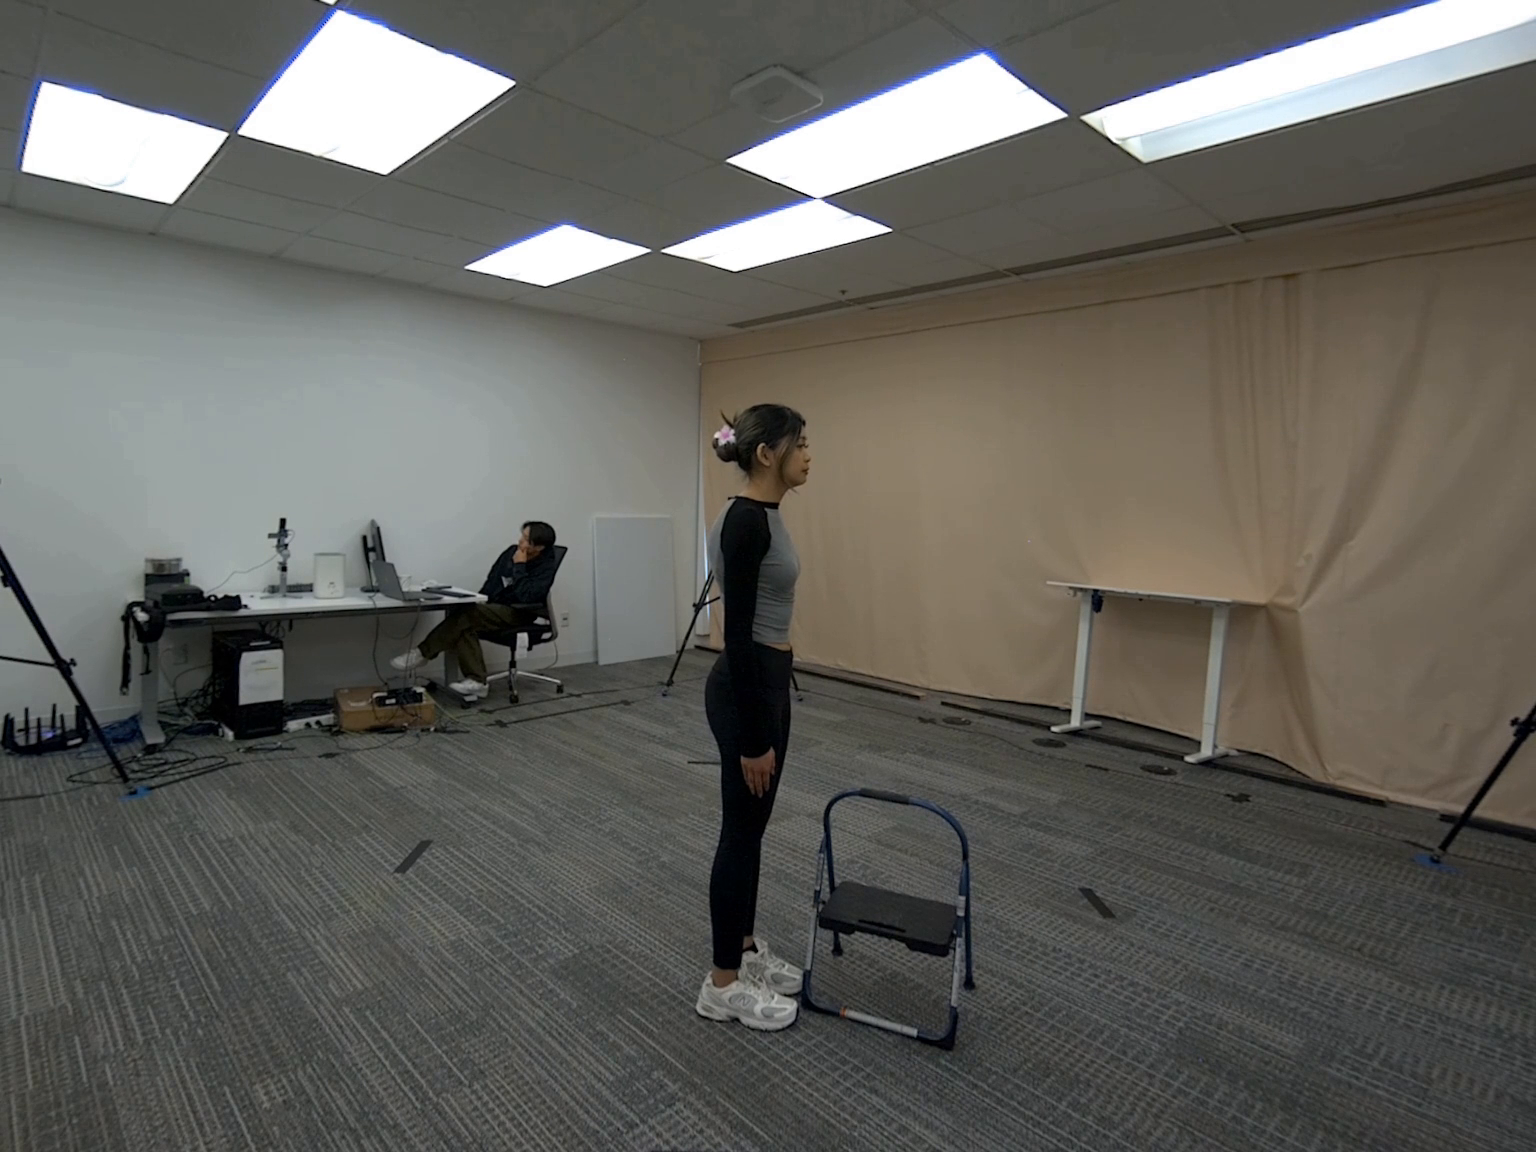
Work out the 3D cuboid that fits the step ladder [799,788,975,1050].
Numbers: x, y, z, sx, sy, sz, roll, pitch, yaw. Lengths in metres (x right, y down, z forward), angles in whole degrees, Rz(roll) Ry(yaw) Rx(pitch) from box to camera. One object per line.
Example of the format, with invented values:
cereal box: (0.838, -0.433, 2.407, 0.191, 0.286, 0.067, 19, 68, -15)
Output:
step ladder: (0.345, 0.888, 2.360, 0.438, 0.605, 0.344, 2, 4, 23)
